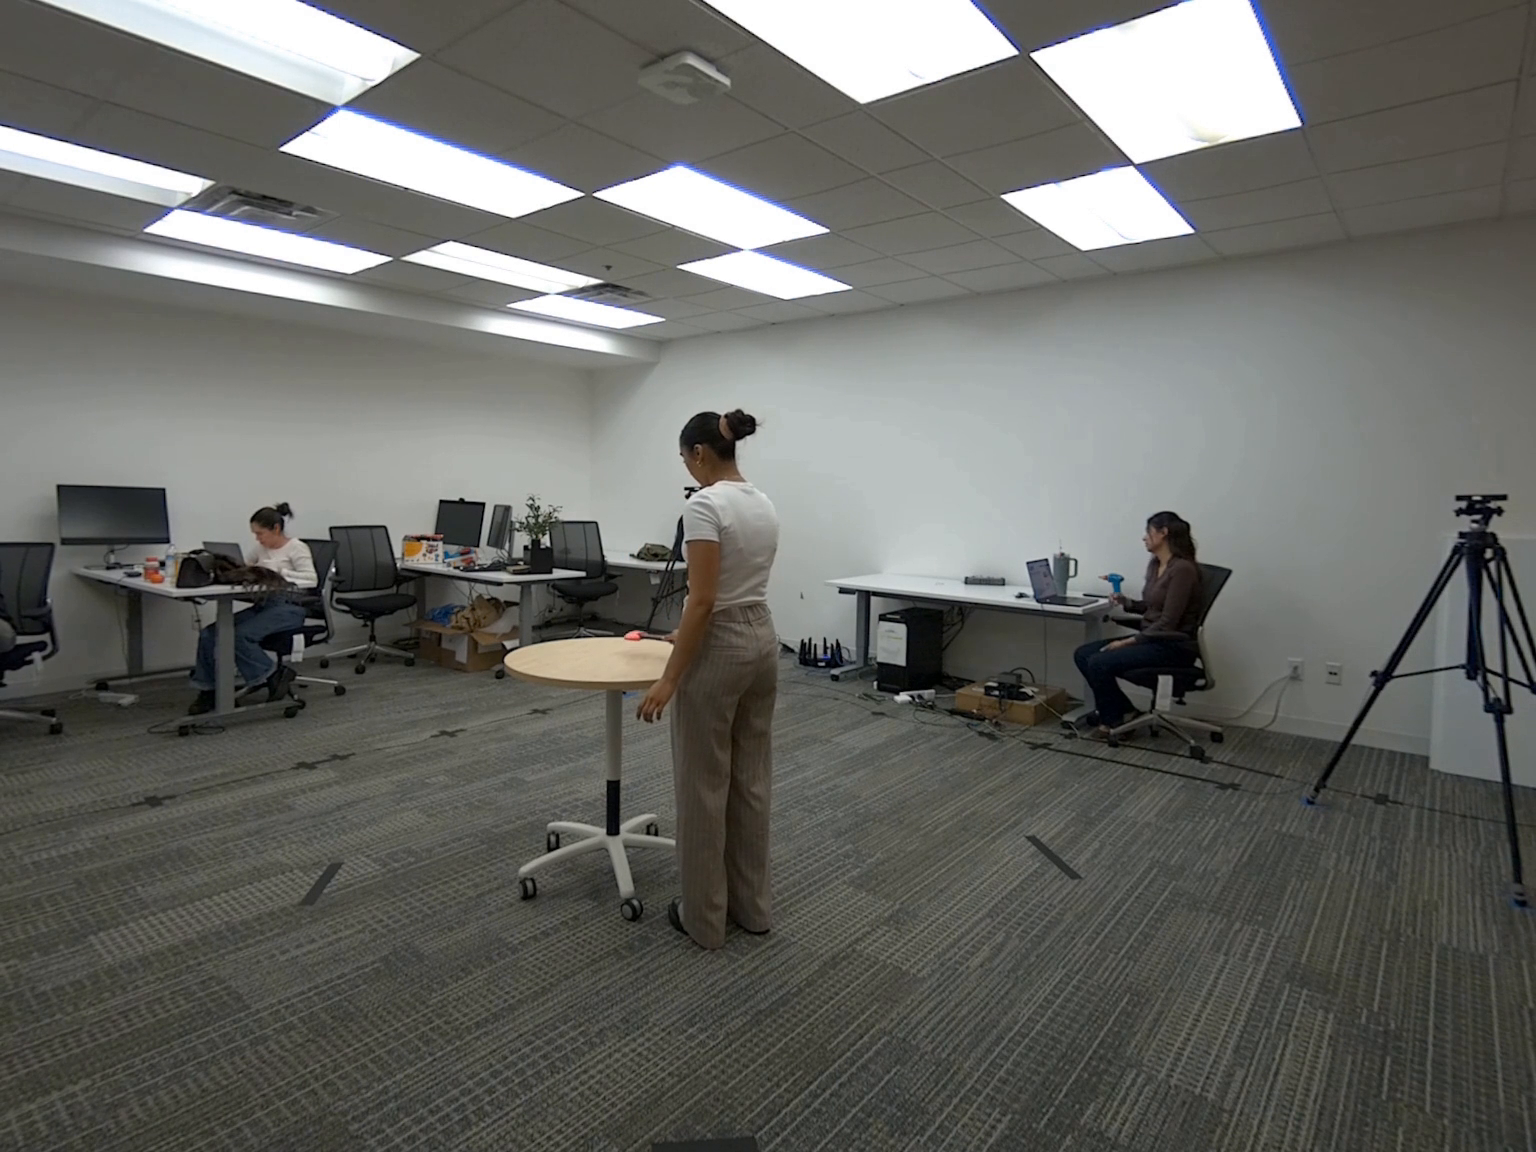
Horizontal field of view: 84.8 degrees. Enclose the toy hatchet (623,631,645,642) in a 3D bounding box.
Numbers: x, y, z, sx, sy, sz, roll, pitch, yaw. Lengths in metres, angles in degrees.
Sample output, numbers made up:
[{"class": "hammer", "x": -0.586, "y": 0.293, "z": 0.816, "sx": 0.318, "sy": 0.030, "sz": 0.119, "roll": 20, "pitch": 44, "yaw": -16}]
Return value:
[{"class": "toy hatchet", "x": -0.418, "y": 0.210, "z": 3.015, "sx": 0.127, "sy": 0.029, "sz": 0.279, "roll": -1, "pitch": 5, "yaw": -42}]
